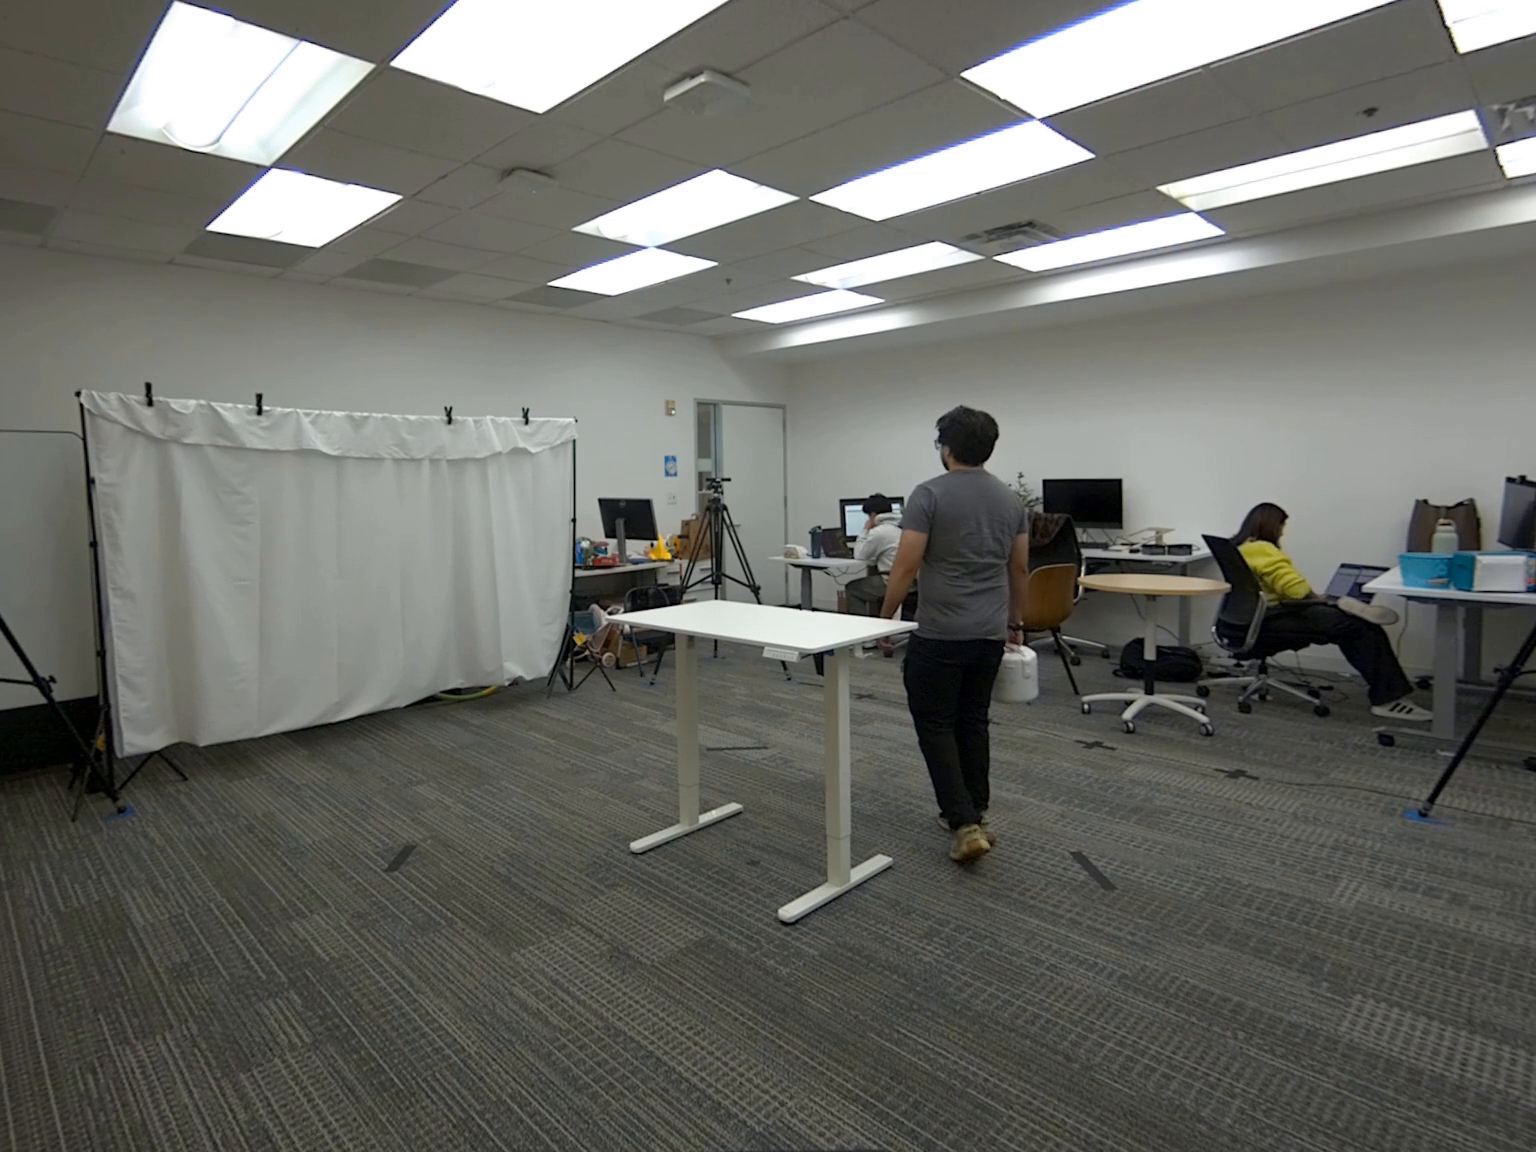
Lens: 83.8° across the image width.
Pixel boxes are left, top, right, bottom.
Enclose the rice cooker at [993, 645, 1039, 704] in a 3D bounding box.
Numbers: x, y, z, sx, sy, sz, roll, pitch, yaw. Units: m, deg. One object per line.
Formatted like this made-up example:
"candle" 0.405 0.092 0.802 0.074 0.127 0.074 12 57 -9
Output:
"rice cooker" 0.977 0.383 3.449 0.214 0.231 0.226 -7 8 -22
